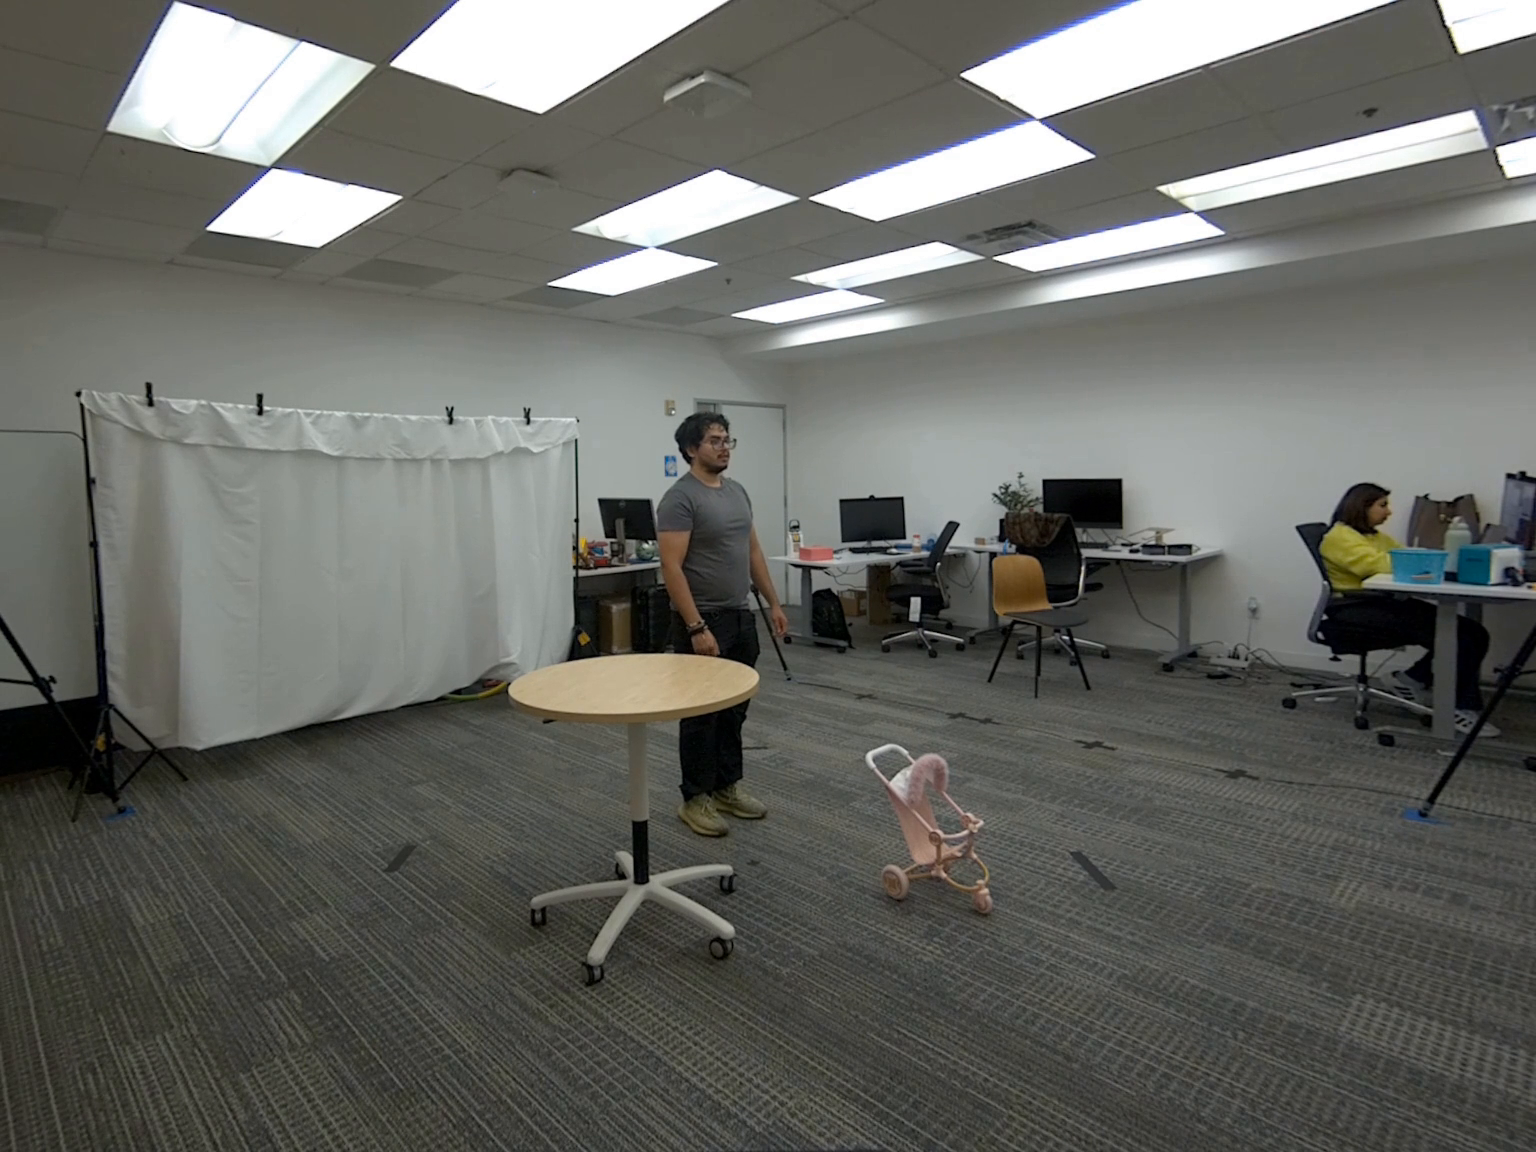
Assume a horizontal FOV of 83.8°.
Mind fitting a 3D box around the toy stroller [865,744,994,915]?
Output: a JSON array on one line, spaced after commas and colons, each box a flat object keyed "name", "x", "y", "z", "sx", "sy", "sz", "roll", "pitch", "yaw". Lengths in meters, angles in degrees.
[{"name": "toy stroller", "x": 0.551, "y": 0.834, "z": 2.846, "sx": 0.274, "sy": 0.539, "sz": 0.347, "roll": -5, "pitch": -9, "yaw": -39}]
